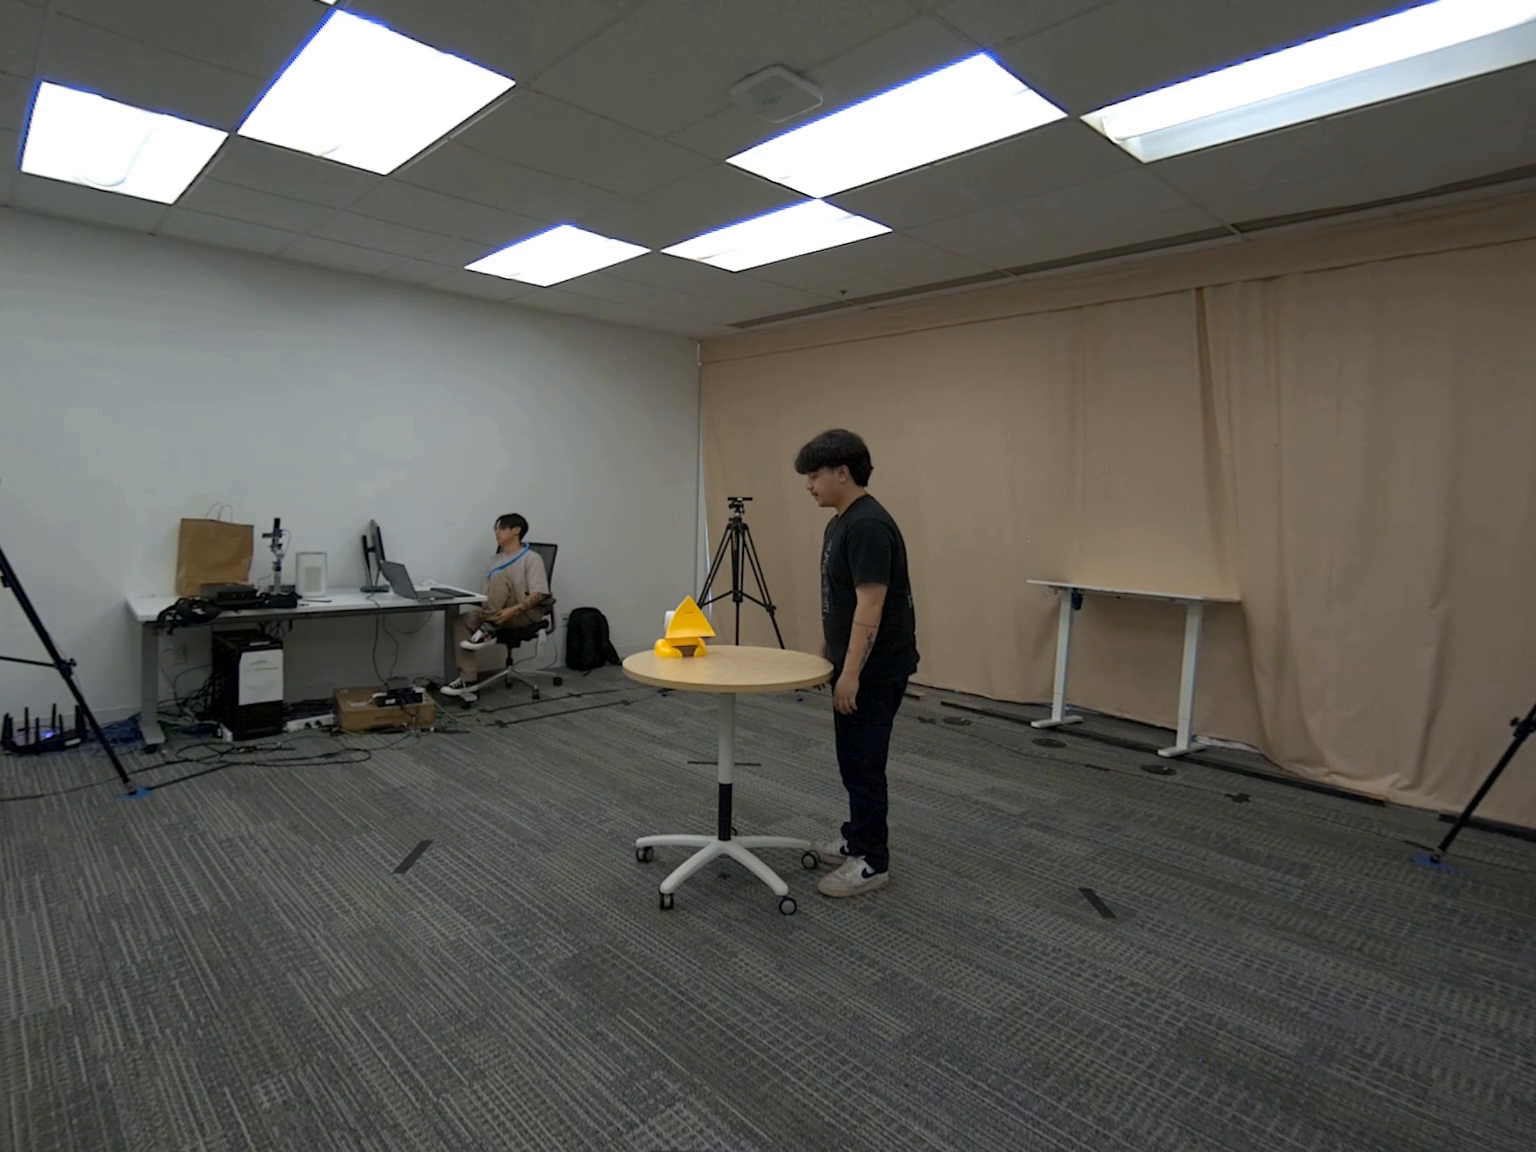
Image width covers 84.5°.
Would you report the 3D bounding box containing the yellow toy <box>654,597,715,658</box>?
[{"bbox_3d":[-0.336,0.185,3.228,0.201,0.230,0.197,-1,5,-28],"label":"yellow toy"}]
